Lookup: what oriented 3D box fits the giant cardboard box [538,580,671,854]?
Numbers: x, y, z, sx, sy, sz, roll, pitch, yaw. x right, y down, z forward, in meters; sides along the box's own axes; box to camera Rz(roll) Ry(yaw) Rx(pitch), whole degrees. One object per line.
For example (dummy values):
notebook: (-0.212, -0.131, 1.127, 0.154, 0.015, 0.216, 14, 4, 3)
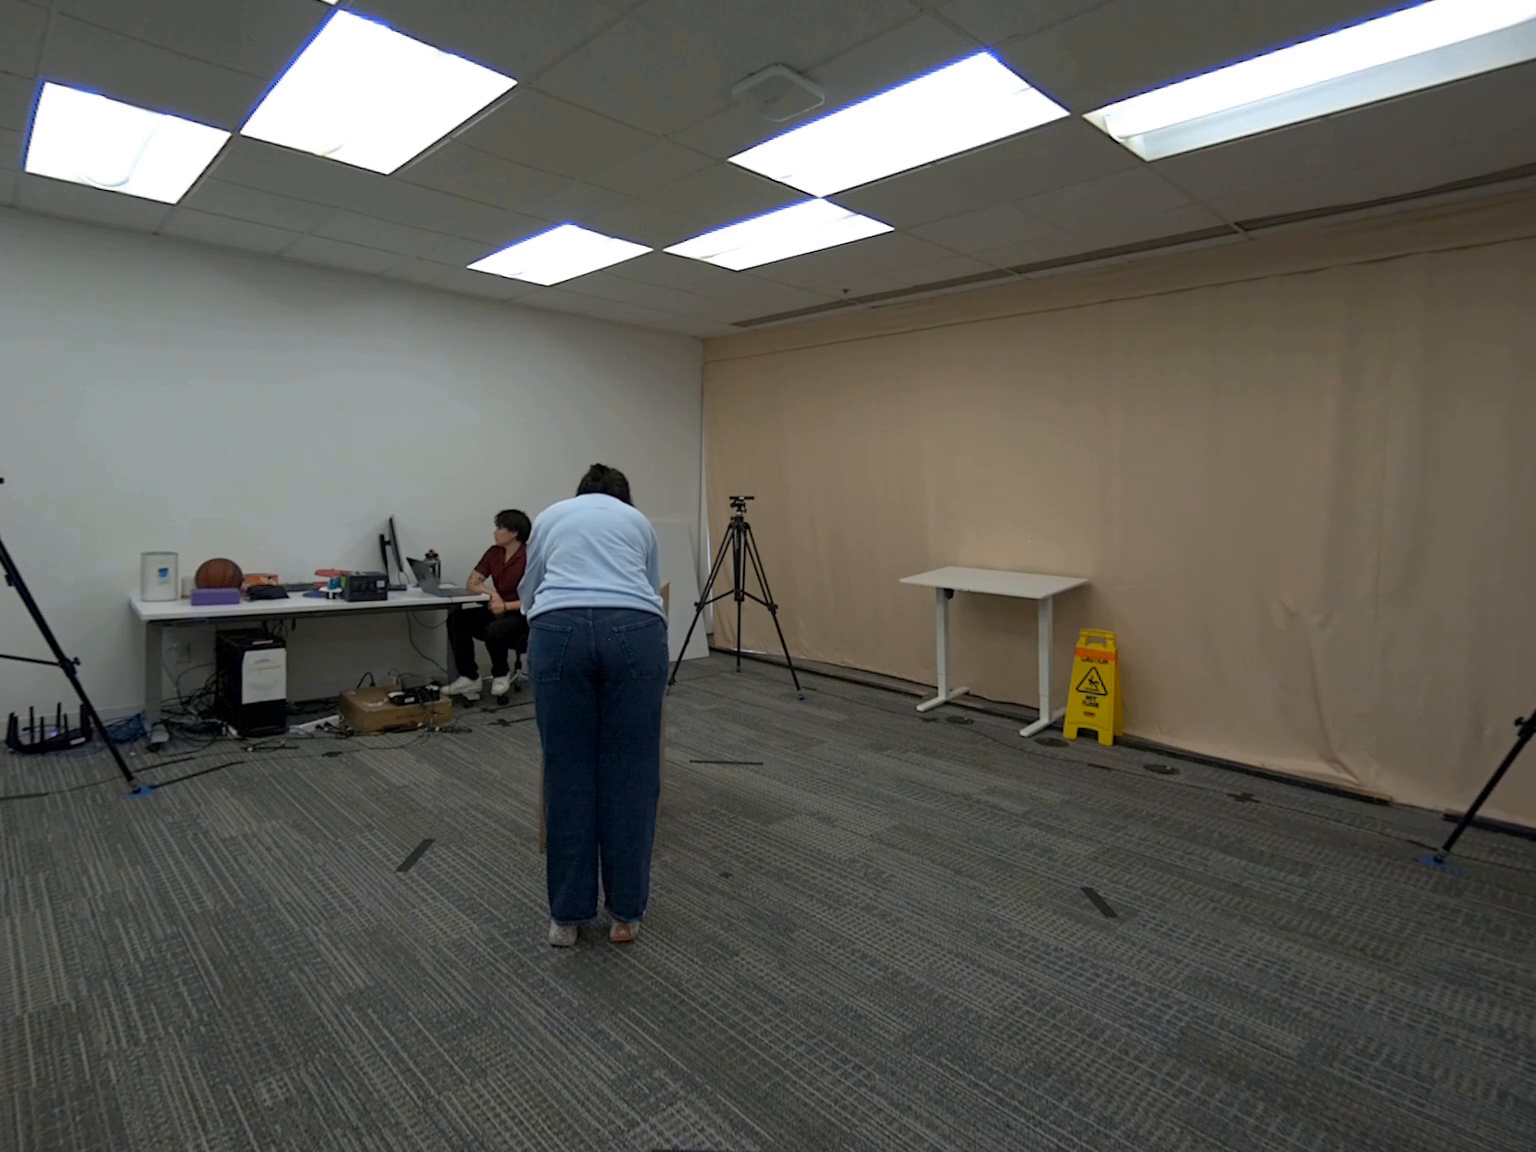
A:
giant cardboard box: (-0.673, 0.550, 3.514, 0.426, 1.024, 0.578, 3, 3, 0)
